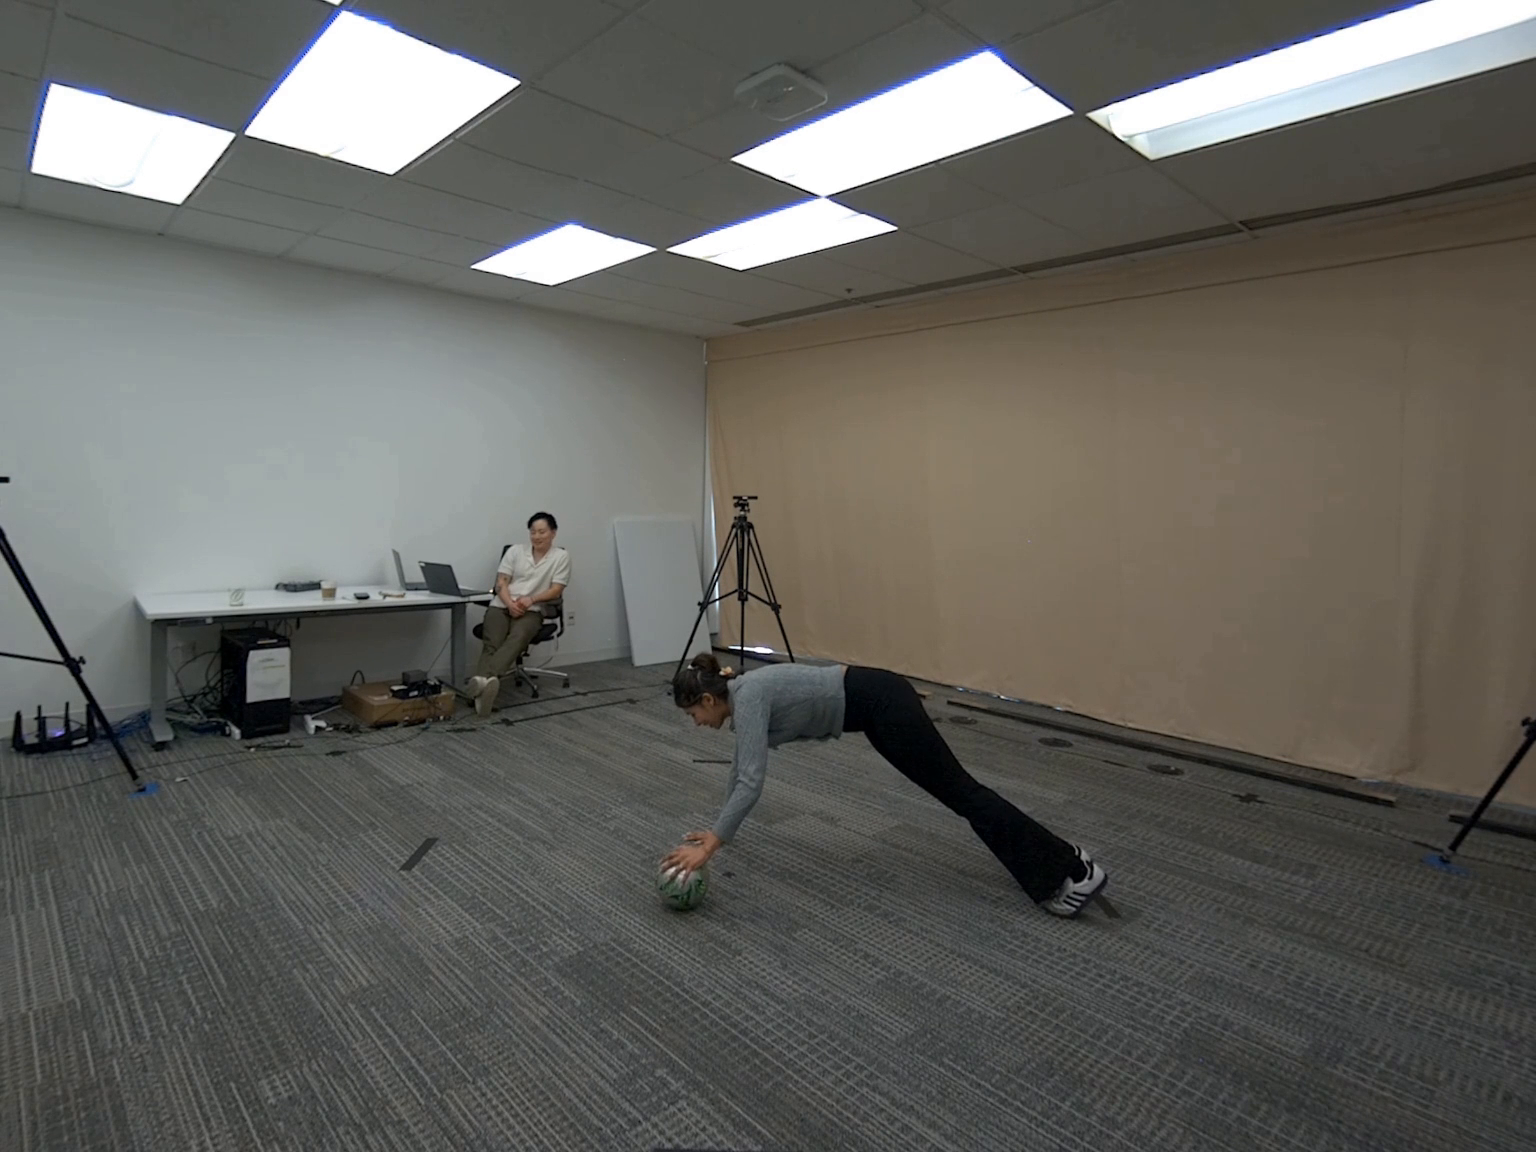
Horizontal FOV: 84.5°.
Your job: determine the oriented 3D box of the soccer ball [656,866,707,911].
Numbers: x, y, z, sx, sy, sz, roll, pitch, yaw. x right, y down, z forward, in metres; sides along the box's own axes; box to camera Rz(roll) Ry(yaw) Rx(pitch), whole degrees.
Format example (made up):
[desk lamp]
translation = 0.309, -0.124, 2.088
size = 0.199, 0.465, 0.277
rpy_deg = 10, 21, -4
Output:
[soccer ball]
translation = -0.302, 1.029, 2.855
size = 0.187, 0.187, 0.188
rpy_deg = 1, 4, -1
